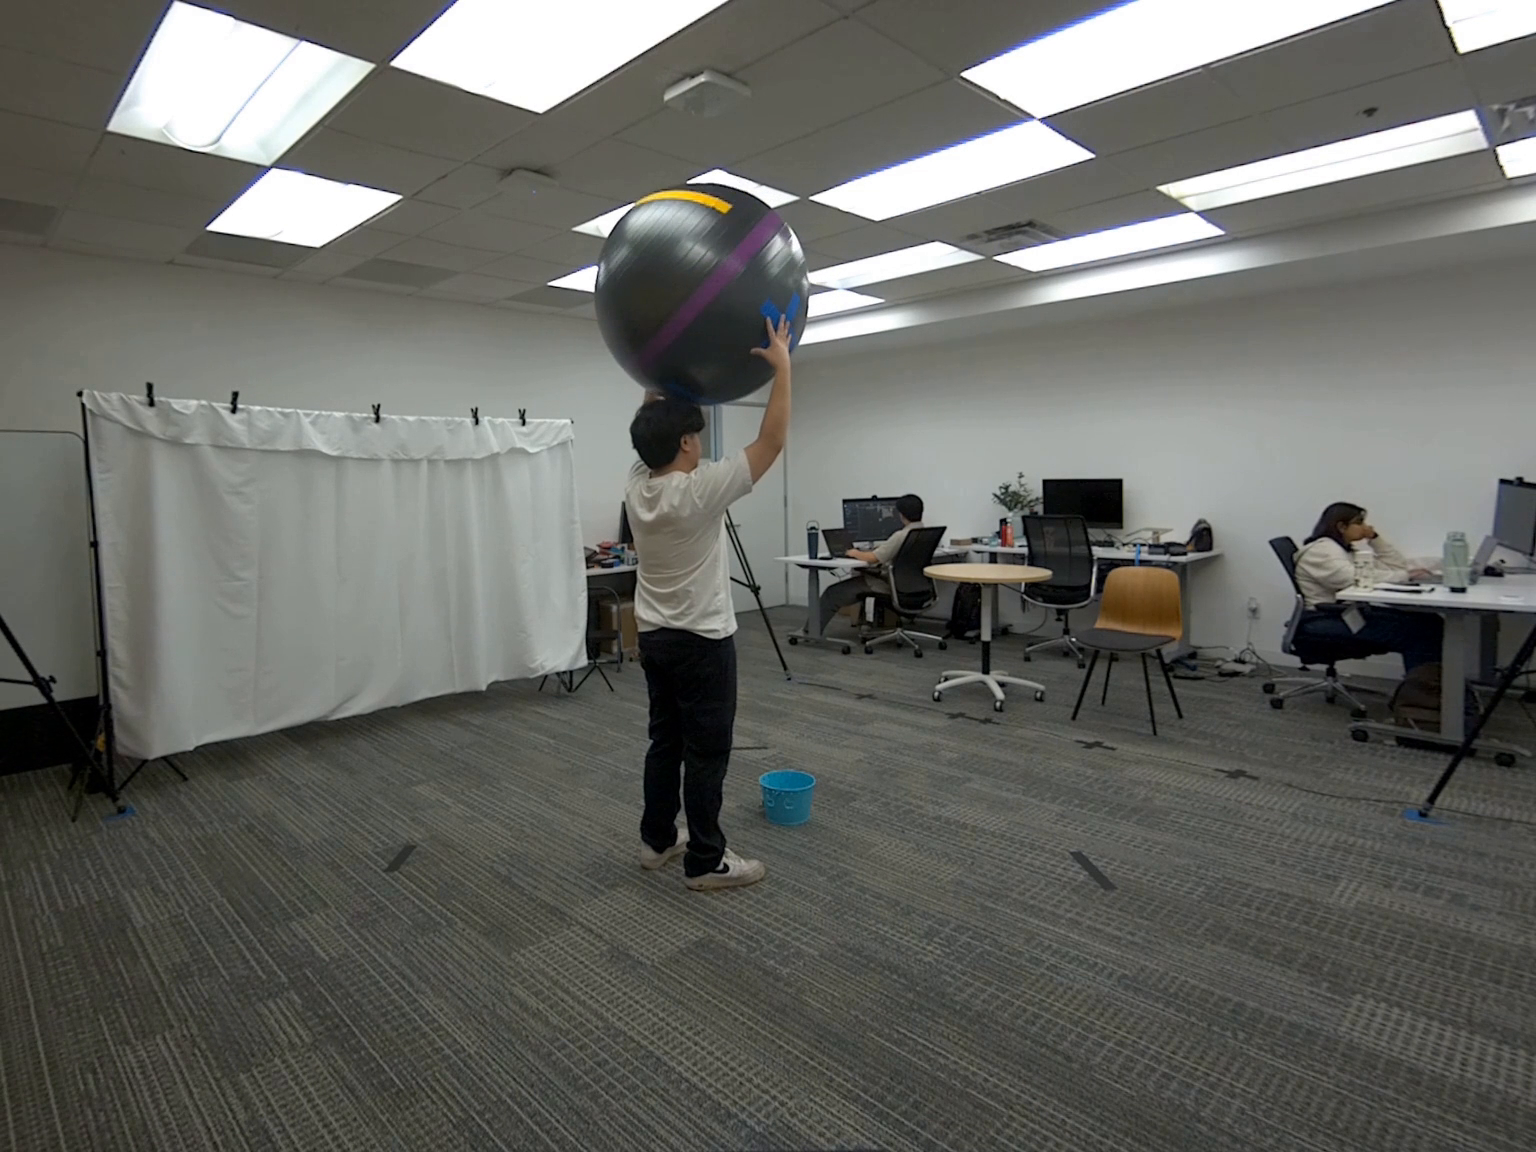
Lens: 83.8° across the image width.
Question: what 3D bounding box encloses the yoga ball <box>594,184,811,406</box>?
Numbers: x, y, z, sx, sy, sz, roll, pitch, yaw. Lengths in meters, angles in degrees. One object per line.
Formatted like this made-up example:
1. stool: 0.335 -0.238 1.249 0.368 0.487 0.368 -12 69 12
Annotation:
1. yoga ball: -0.235 -0.983 3.015 0.757 0.755 0.762 -1 5 -2
